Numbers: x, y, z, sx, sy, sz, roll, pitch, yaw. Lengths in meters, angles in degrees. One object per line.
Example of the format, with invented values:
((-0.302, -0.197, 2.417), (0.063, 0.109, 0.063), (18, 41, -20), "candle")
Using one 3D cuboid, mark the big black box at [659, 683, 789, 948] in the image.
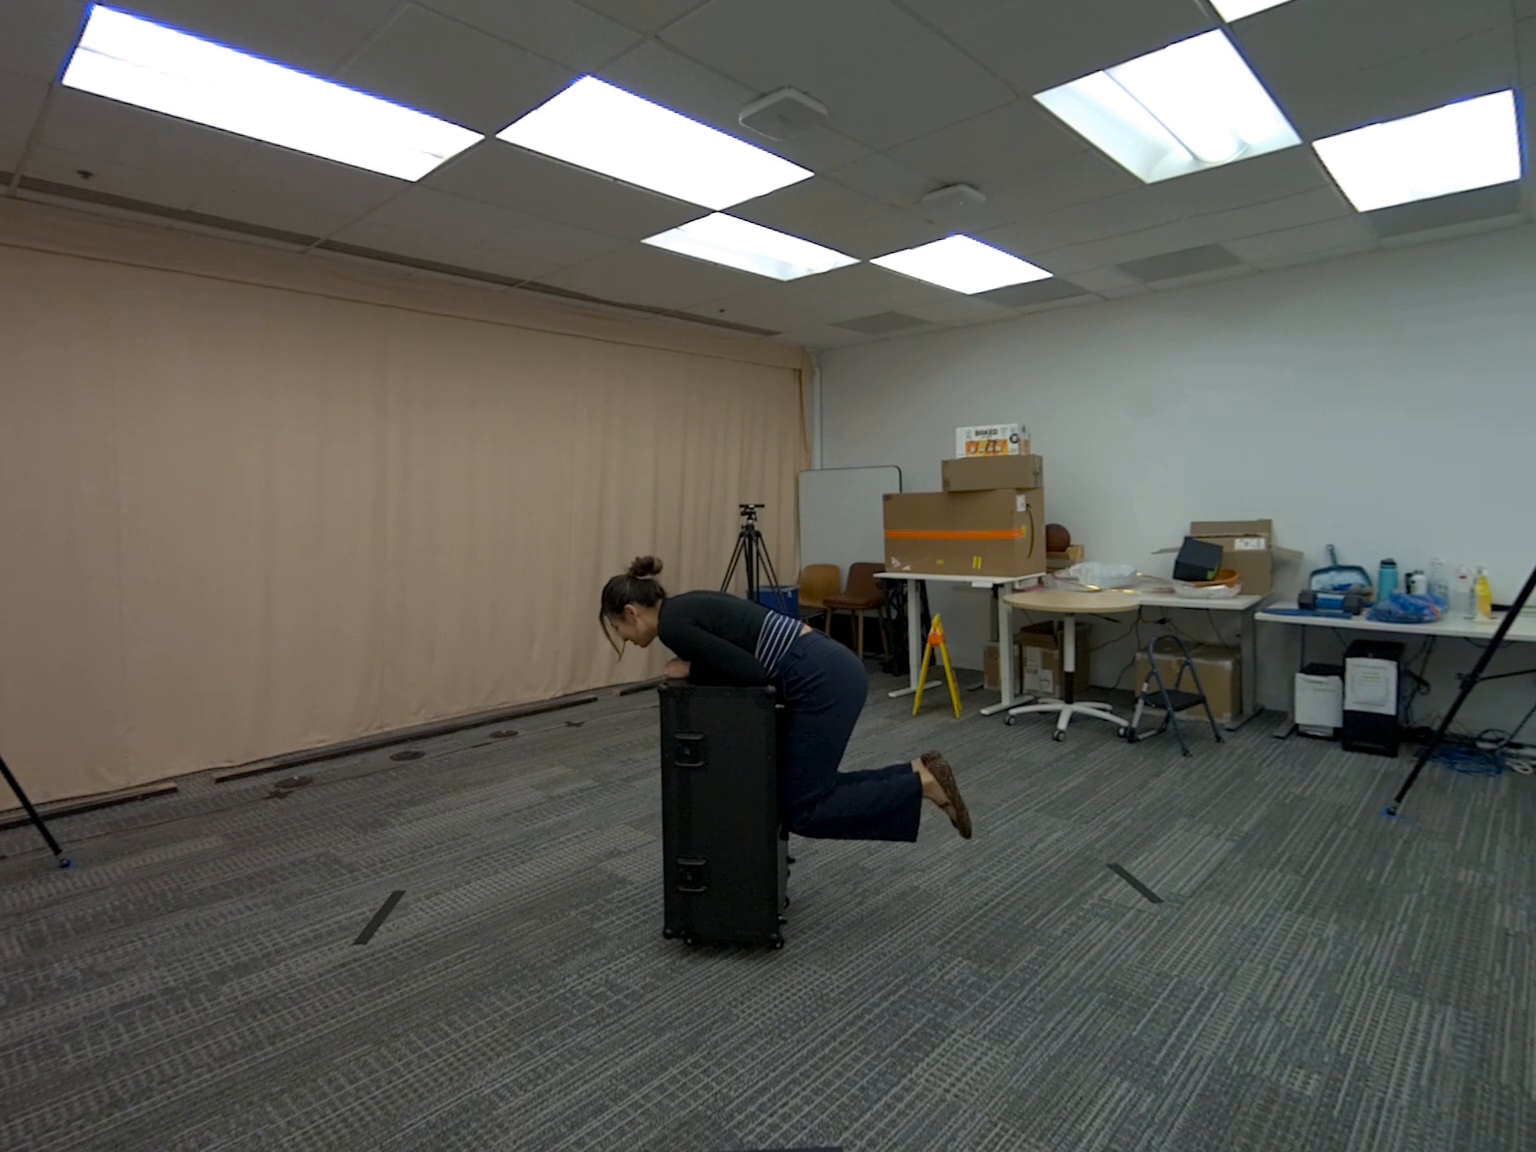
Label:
((-0.107, 0.739, 2.777), (0.399, 0.860, 0.518), (1, 3, 6), "big black box")
